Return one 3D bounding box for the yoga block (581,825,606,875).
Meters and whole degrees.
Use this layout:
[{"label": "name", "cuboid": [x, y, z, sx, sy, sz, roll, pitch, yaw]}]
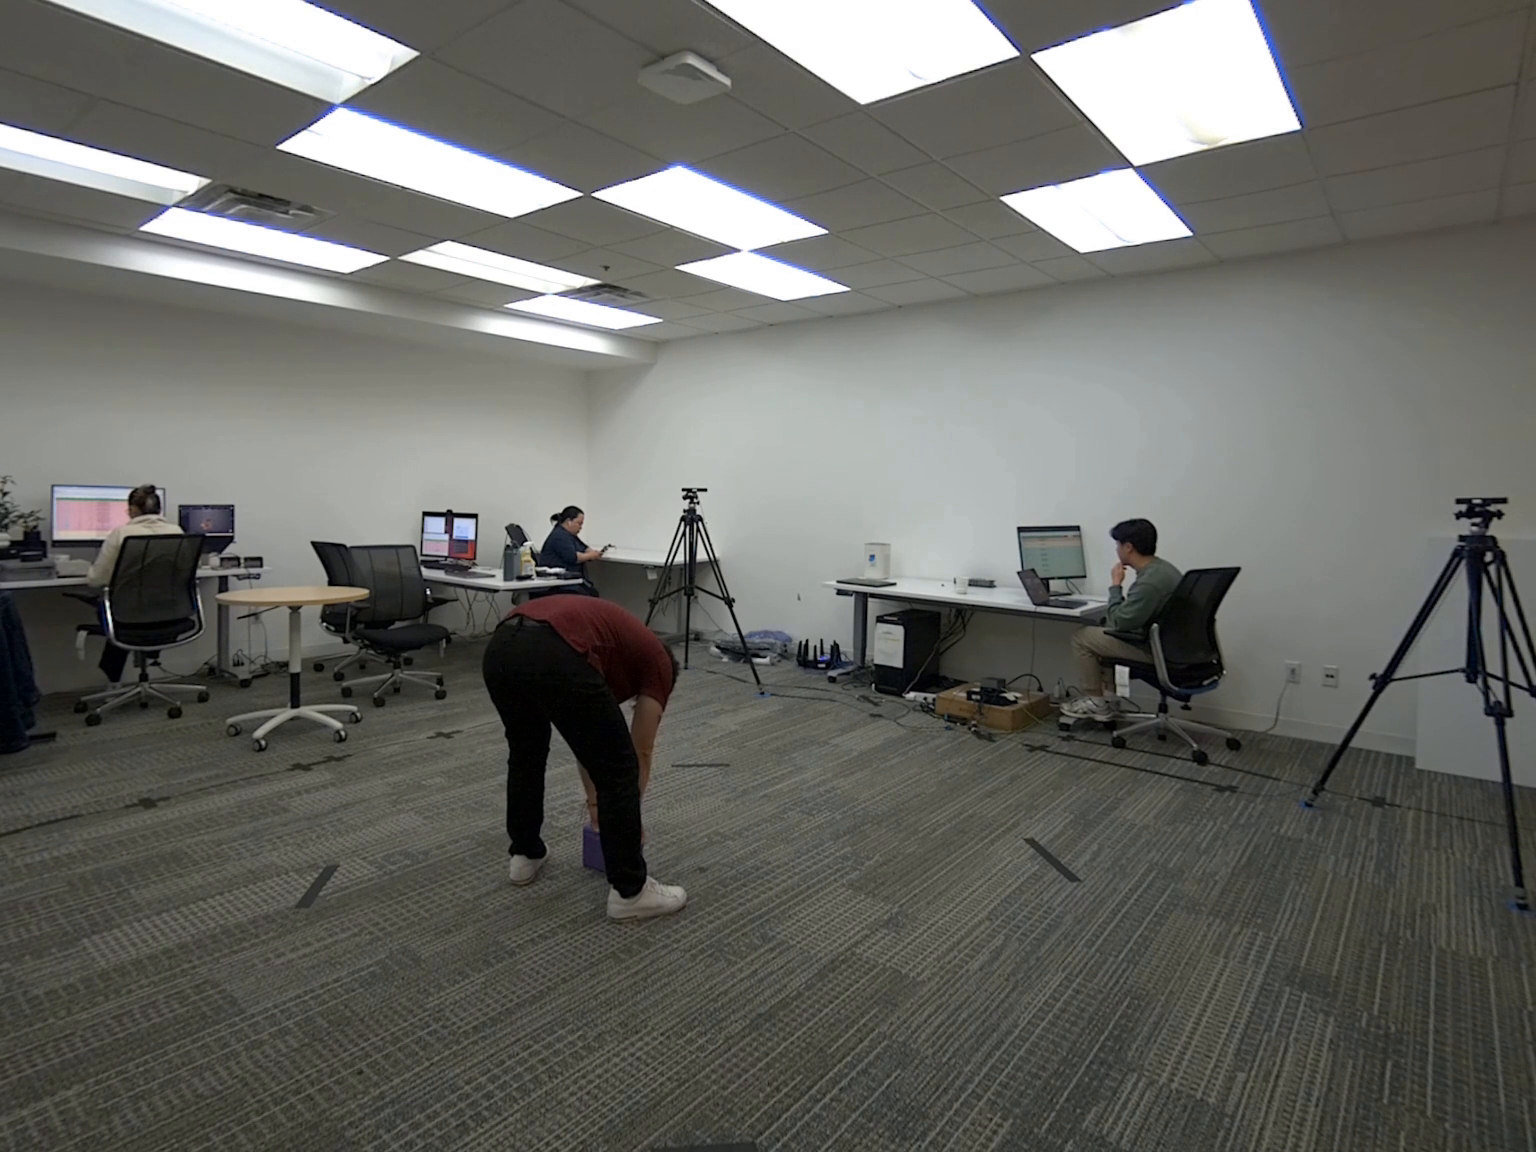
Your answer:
[{"label": "yoga block", "cuboid": [-0.580, 0.994, 3.079, 0.236, 0.148, 0.075, 3, 6, 28]}]
